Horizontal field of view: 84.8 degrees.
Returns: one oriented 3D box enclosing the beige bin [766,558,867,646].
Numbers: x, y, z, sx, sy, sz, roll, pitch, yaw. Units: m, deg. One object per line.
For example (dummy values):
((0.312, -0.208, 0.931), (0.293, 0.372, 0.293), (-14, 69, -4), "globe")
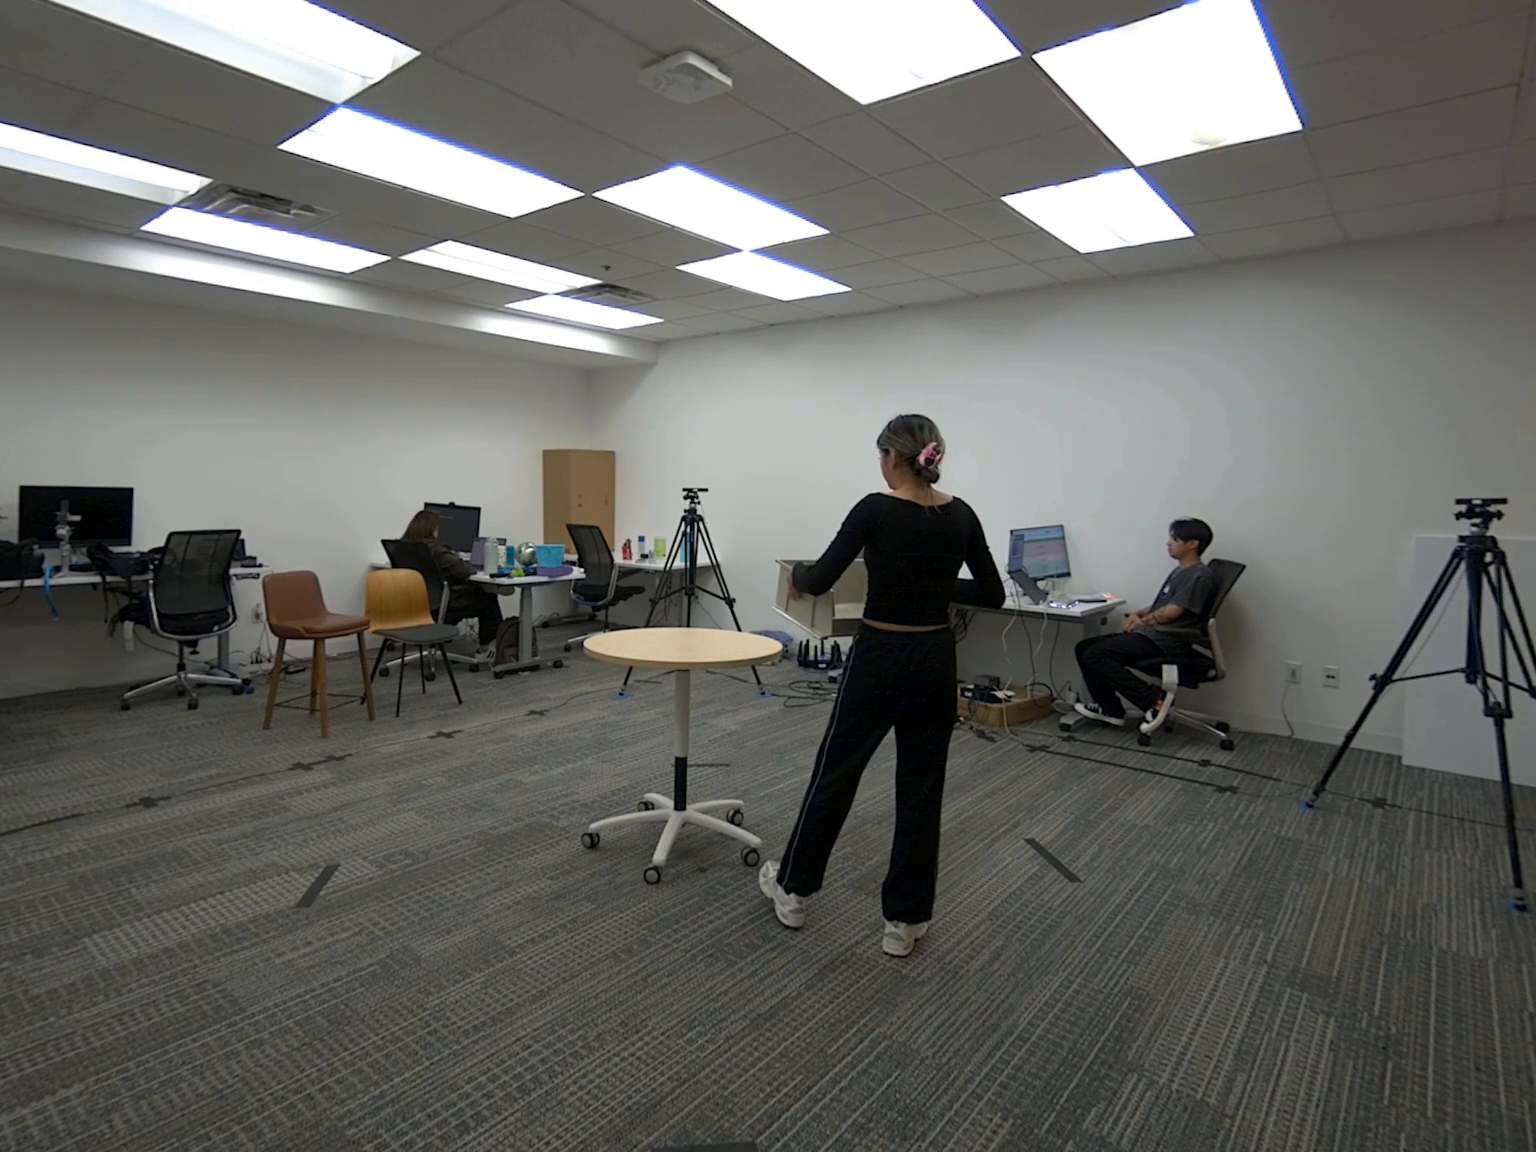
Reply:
((0.279, 0.076, 2.913), (0.411, 0.187, 0.391), (-1, 14, -28), "beige bin")
